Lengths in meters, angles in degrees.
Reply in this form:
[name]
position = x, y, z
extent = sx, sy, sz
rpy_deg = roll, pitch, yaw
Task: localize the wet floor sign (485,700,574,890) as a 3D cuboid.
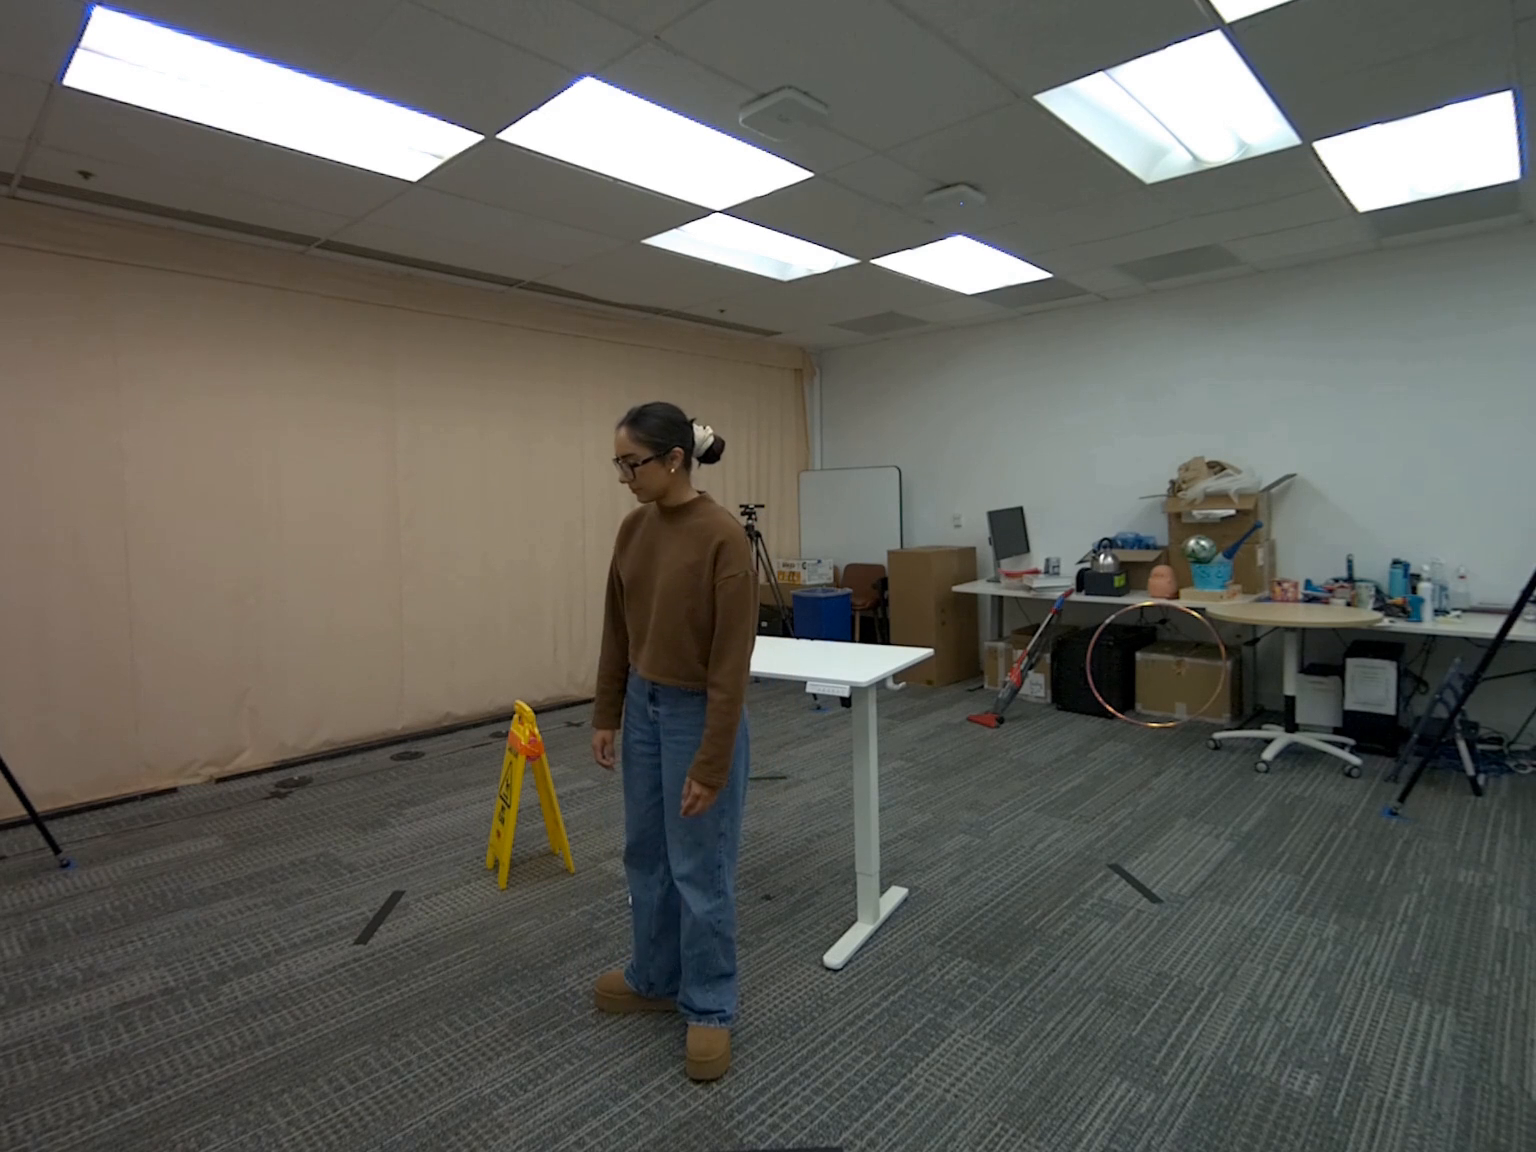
[wet floor sign]
position = -0.941, 0.818, 3.254
extent = 0.282, 0.645, 0.290
rpy_deg = -3, 3, -29
